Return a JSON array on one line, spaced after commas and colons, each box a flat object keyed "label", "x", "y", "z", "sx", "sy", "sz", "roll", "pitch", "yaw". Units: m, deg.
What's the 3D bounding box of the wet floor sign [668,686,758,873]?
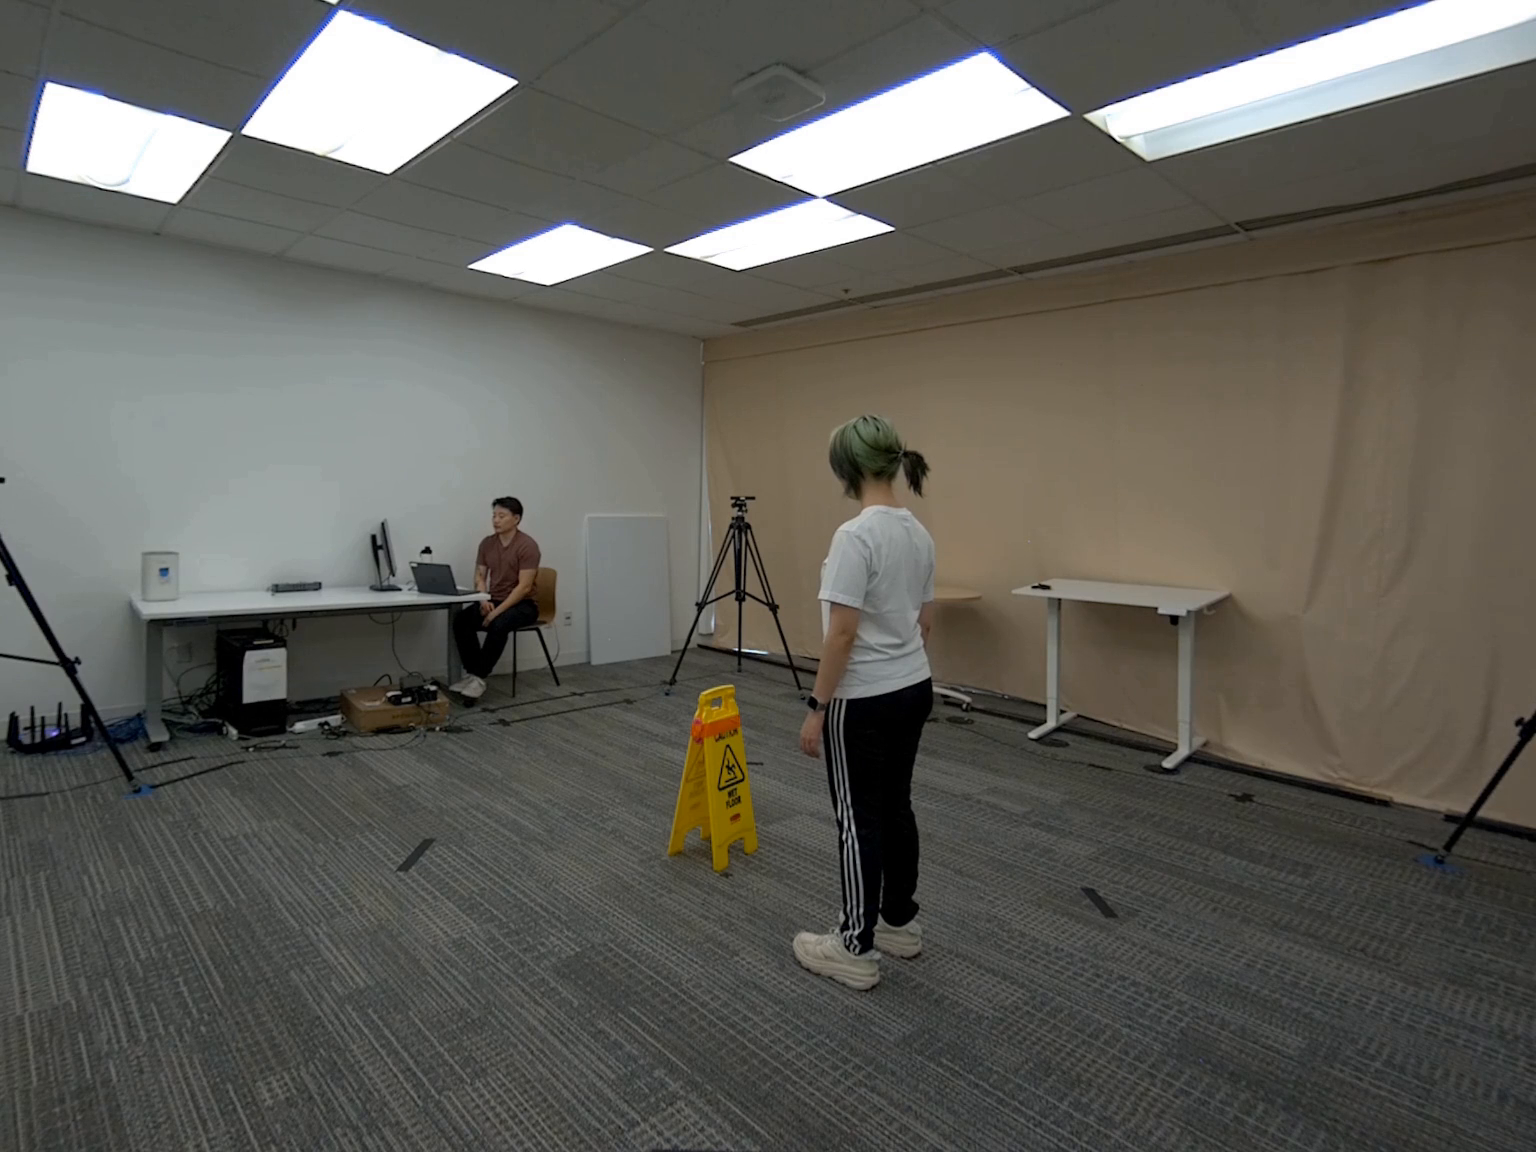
[{"label": "wet floor sign", "x": -0.217, "y": 0.760, "z": 3.288, "sx": 0.296, "sy": 0.645, "sz": 0.276, "roll": 2, "pitch": 2, "yaw": 34}]
